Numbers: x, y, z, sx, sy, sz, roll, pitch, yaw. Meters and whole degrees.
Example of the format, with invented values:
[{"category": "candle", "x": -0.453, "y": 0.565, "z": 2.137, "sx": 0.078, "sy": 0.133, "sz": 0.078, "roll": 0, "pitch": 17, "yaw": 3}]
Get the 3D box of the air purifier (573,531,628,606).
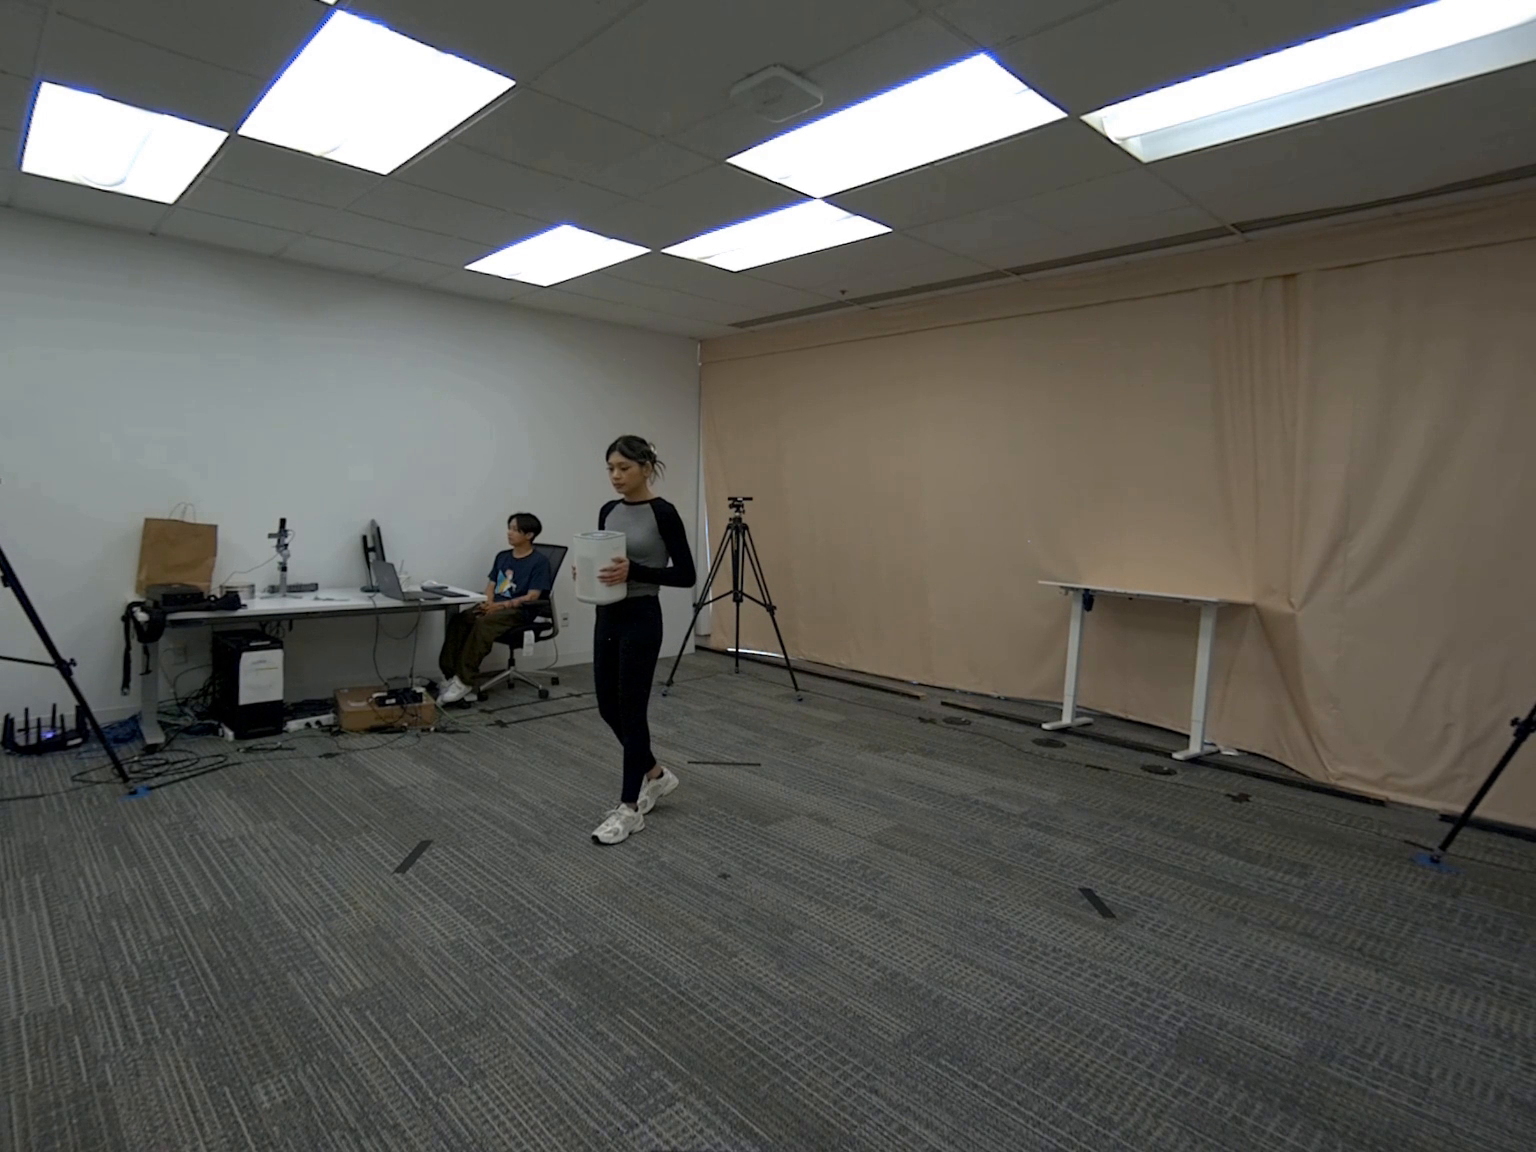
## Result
[{"category": "air purifier", "x": -0.676, "y": -0.033, "z": 3.284, "sx": 0.175, "sy": 0.263, "sz": 0.168, "roll": 5, "pitch": 11, "yaw": 31}]
